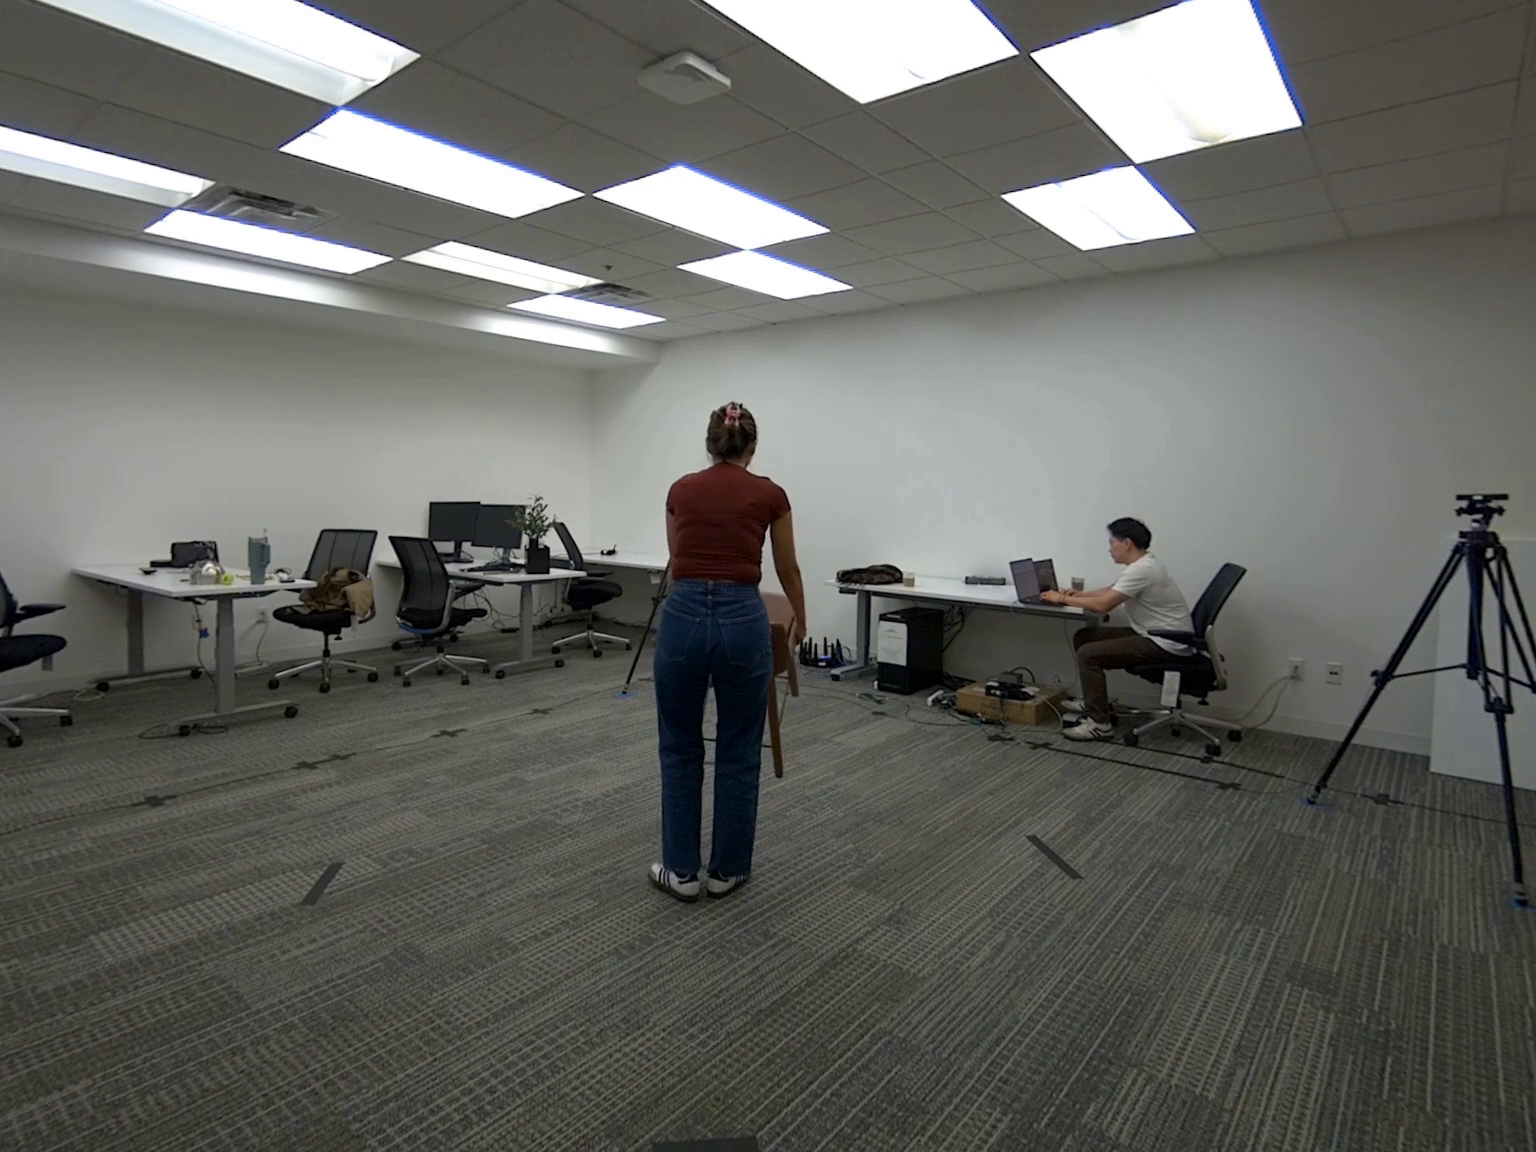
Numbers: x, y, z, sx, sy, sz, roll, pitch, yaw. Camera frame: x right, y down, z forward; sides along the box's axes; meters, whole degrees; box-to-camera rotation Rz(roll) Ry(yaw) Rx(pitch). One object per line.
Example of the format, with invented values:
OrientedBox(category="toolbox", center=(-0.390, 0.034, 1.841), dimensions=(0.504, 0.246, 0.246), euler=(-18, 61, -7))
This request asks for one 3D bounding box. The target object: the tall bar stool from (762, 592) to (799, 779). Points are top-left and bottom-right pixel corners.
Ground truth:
OrientedBox(category="tall bar stool", center=(-0.128, 0.332, 3.321), dimensions=(0.462, 0.862, 0.477), euler=(4, 43, 9))
